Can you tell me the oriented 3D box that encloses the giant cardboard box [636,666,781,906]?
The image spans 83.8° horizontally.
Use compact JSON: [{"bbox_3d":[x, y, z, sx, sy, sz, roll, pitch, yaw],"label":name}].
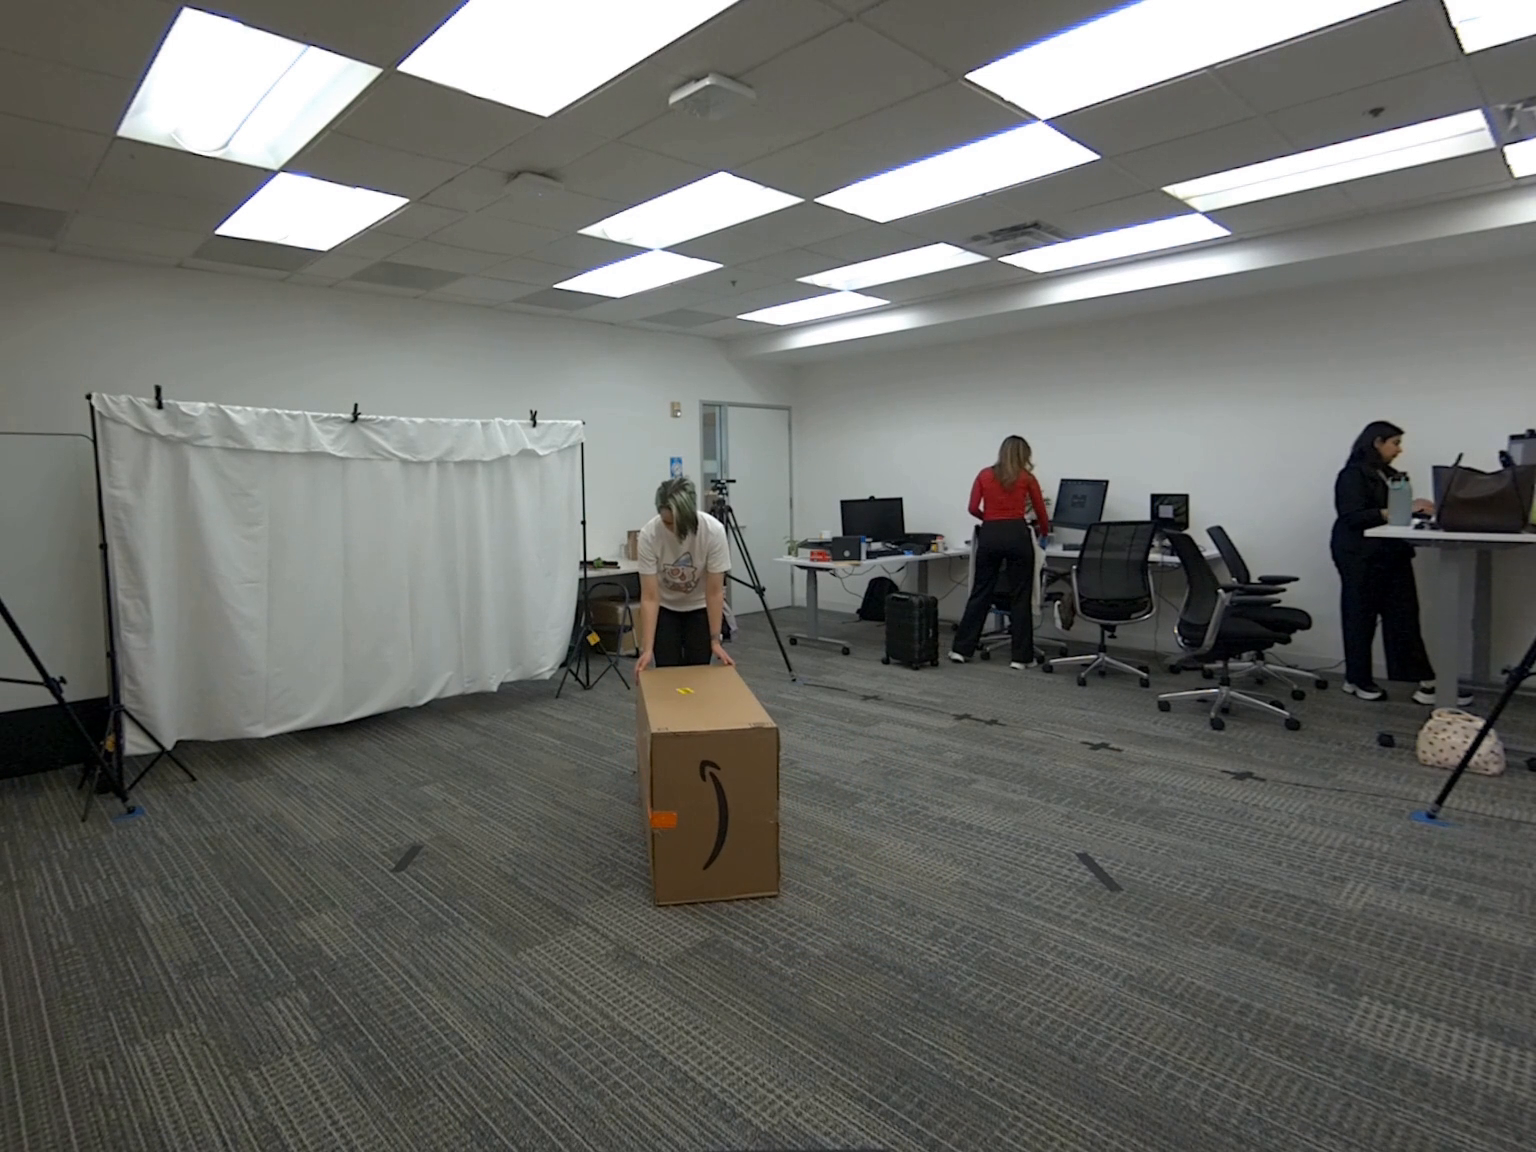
[{"bbox_3d":[-0.266,0.735,3.319,0.443,0.582,1.041,-2,5,-11],"label":"giant cardboard box"}]
